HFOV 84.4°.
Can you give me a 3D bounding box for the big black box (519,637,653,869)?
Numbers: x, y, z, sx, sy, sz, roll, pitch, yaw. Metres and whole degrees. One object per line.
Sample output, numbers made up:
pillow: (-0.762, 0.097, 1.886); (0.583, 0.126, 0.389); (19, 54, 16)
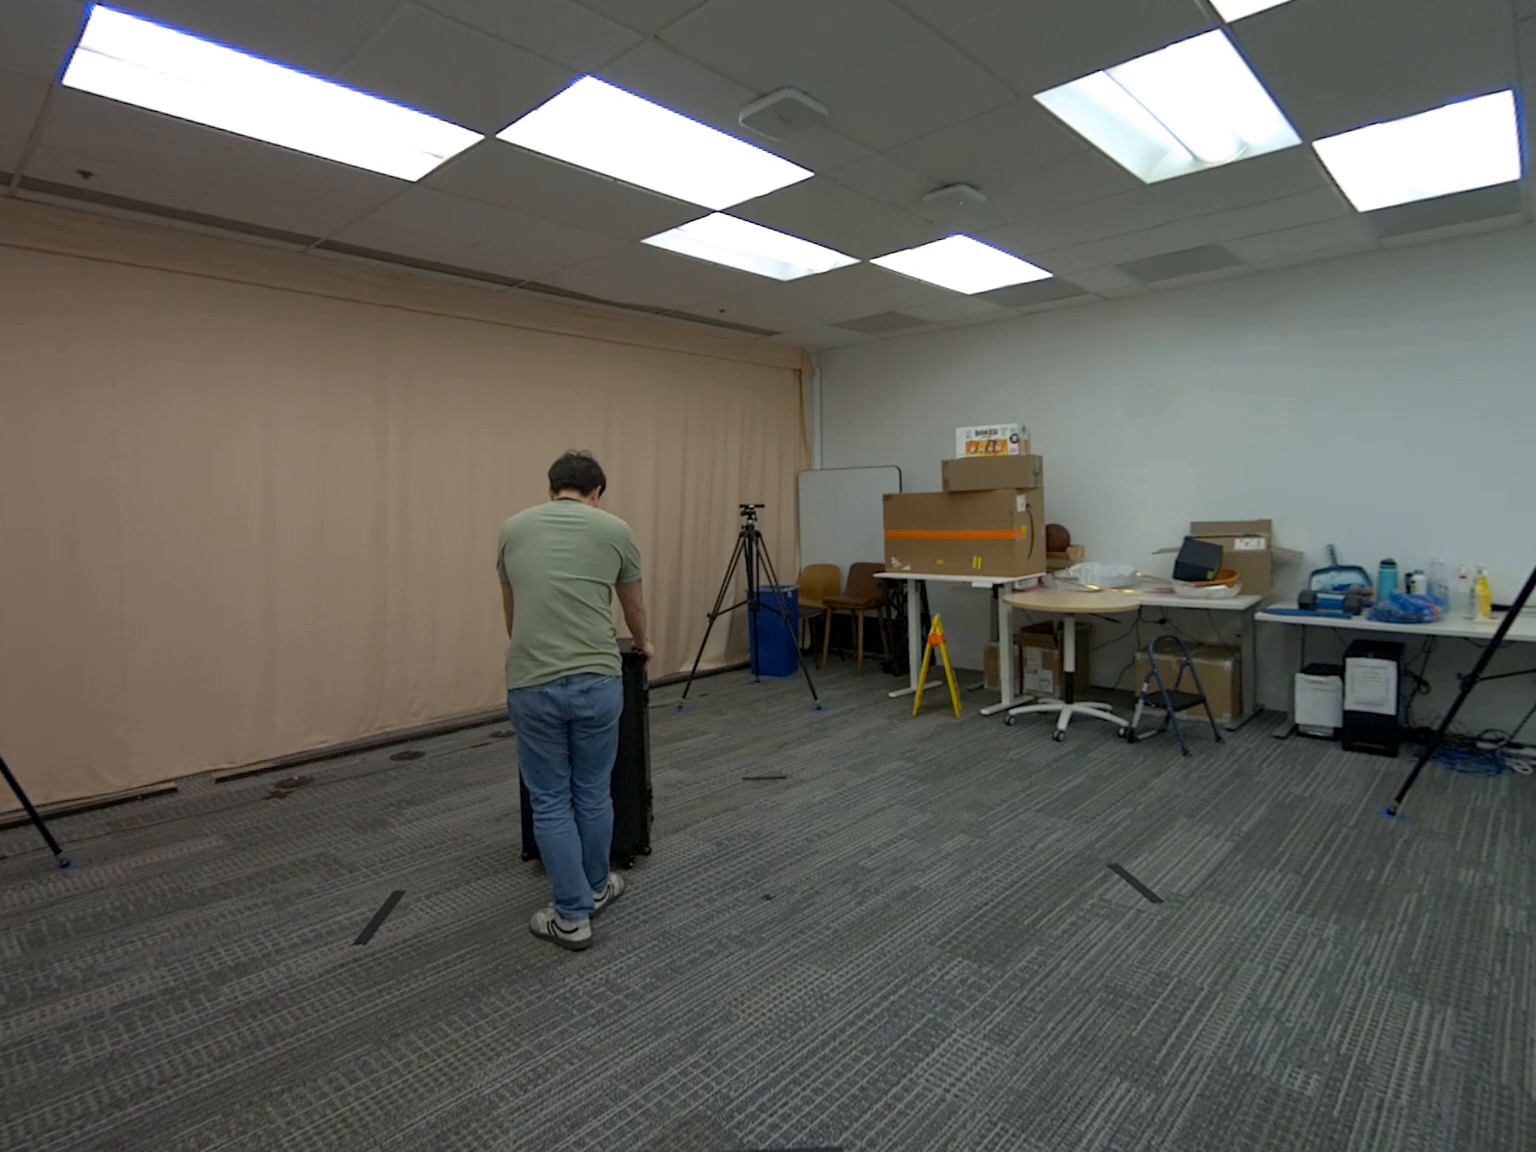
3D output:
big black box: (-0.727, 0.698, 3.355); (0.520, 0.860, 0.398); (-2, 2, -3)
